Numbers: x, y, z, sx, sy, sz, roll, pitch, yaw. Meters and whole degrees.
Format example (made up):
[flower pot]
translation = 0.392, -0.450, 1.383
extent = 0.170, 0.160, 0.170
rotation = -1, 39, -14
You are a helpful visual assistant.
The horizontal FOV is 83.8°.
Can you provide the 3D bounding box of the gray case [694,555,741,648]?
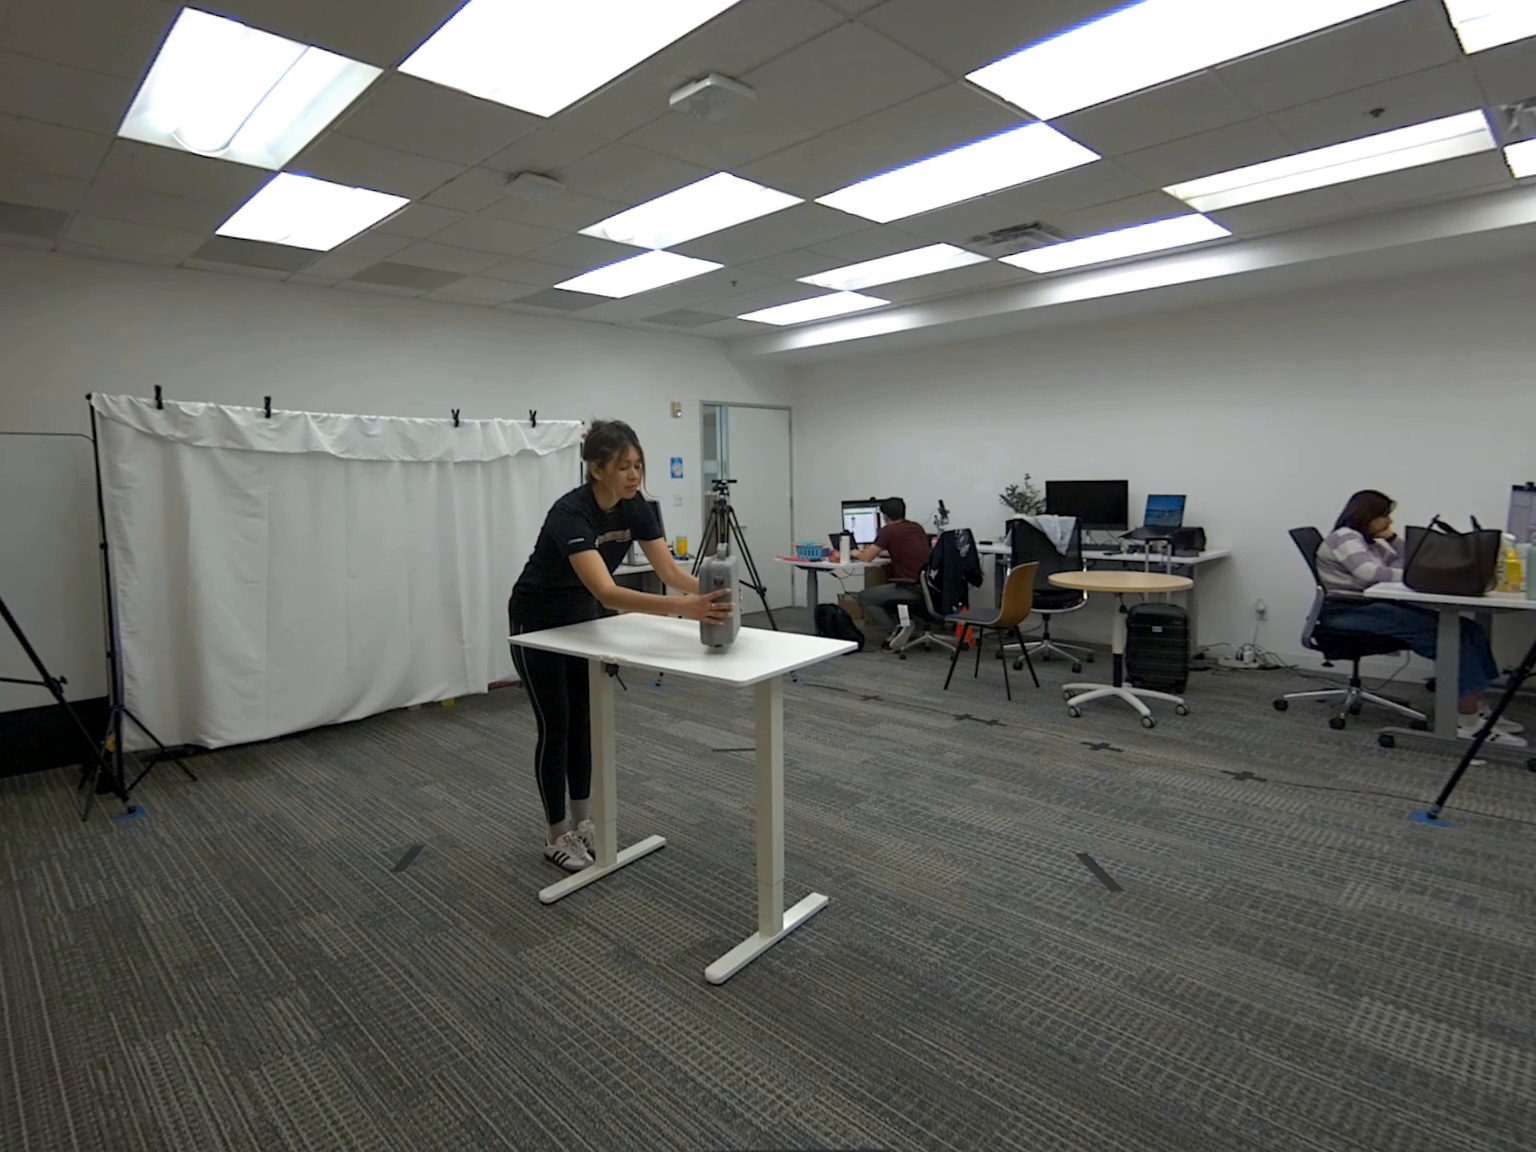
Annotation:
[gray case]
translation = -0.136, 0.069, 2.629
extent = 0.105, 0.258, 0.258
rotation = 2, 10, 3
